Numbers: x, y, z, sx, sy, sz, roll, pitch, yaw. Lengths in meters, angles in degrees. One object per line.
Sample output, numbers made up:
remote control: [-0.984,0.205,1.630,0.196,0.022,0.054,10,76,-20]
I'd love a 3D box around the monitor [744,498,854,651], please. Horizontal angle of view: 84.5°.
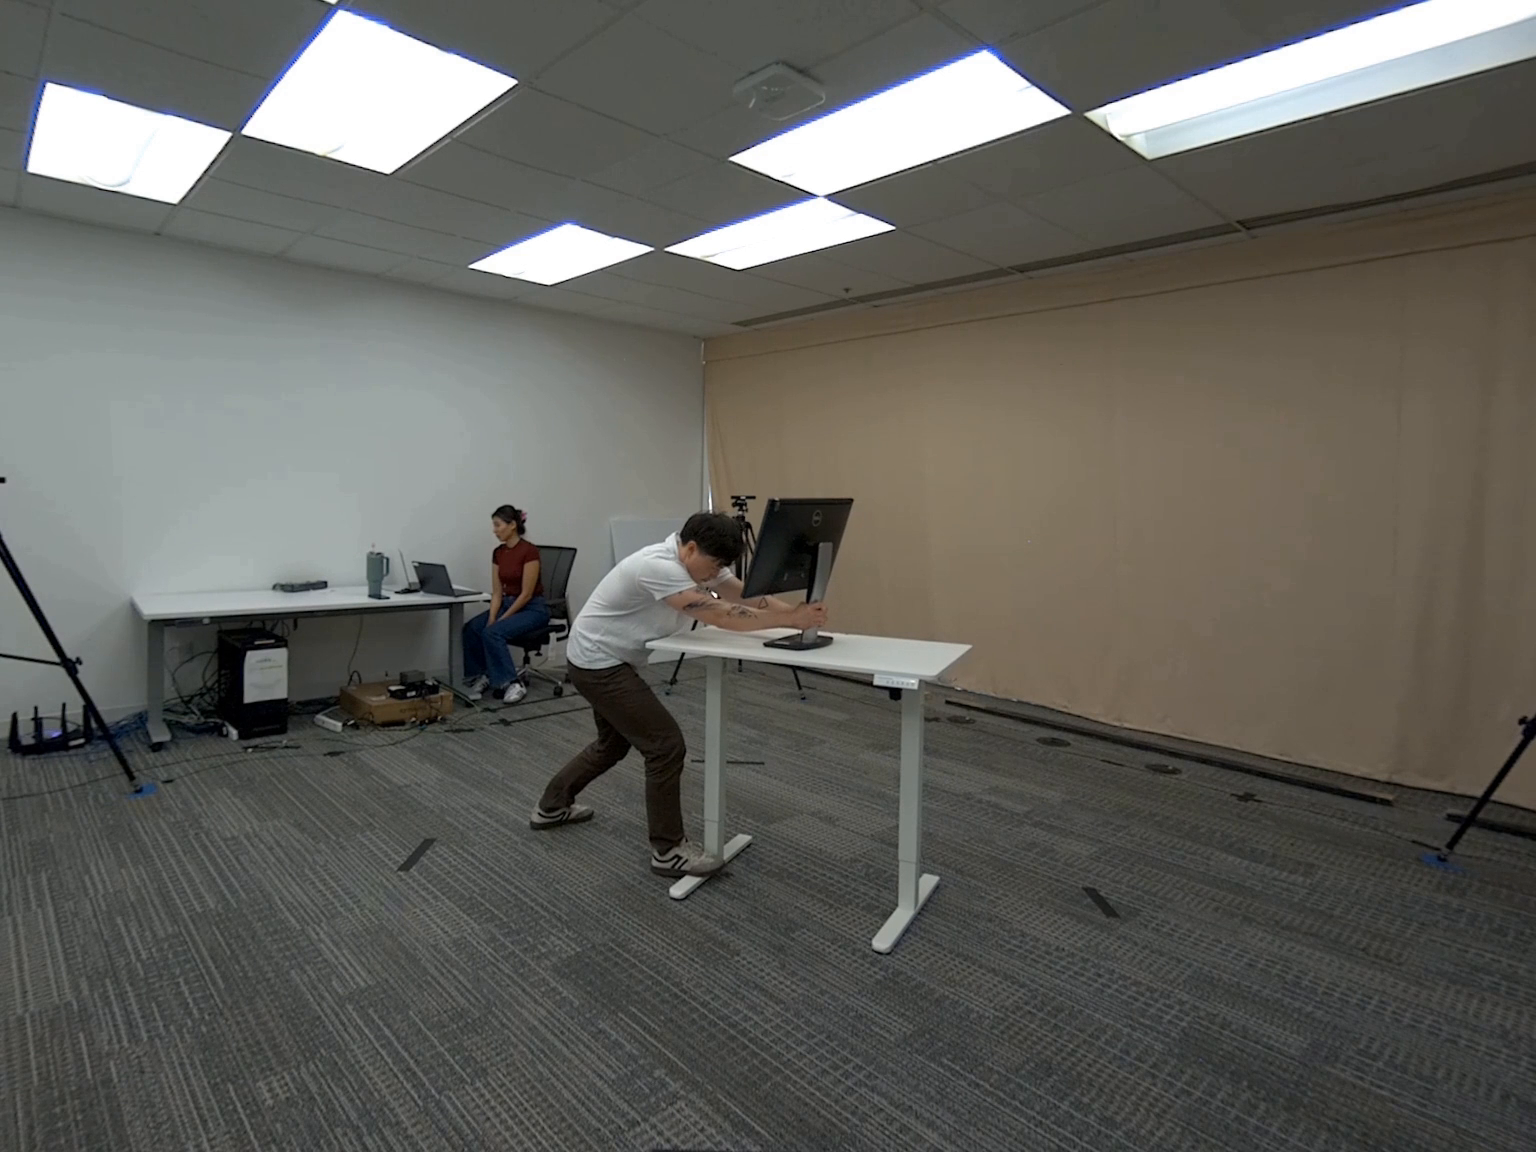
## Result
monitor: [0.125,-0.015,2.948,0.192,0.520,0.528,8,8,33]
